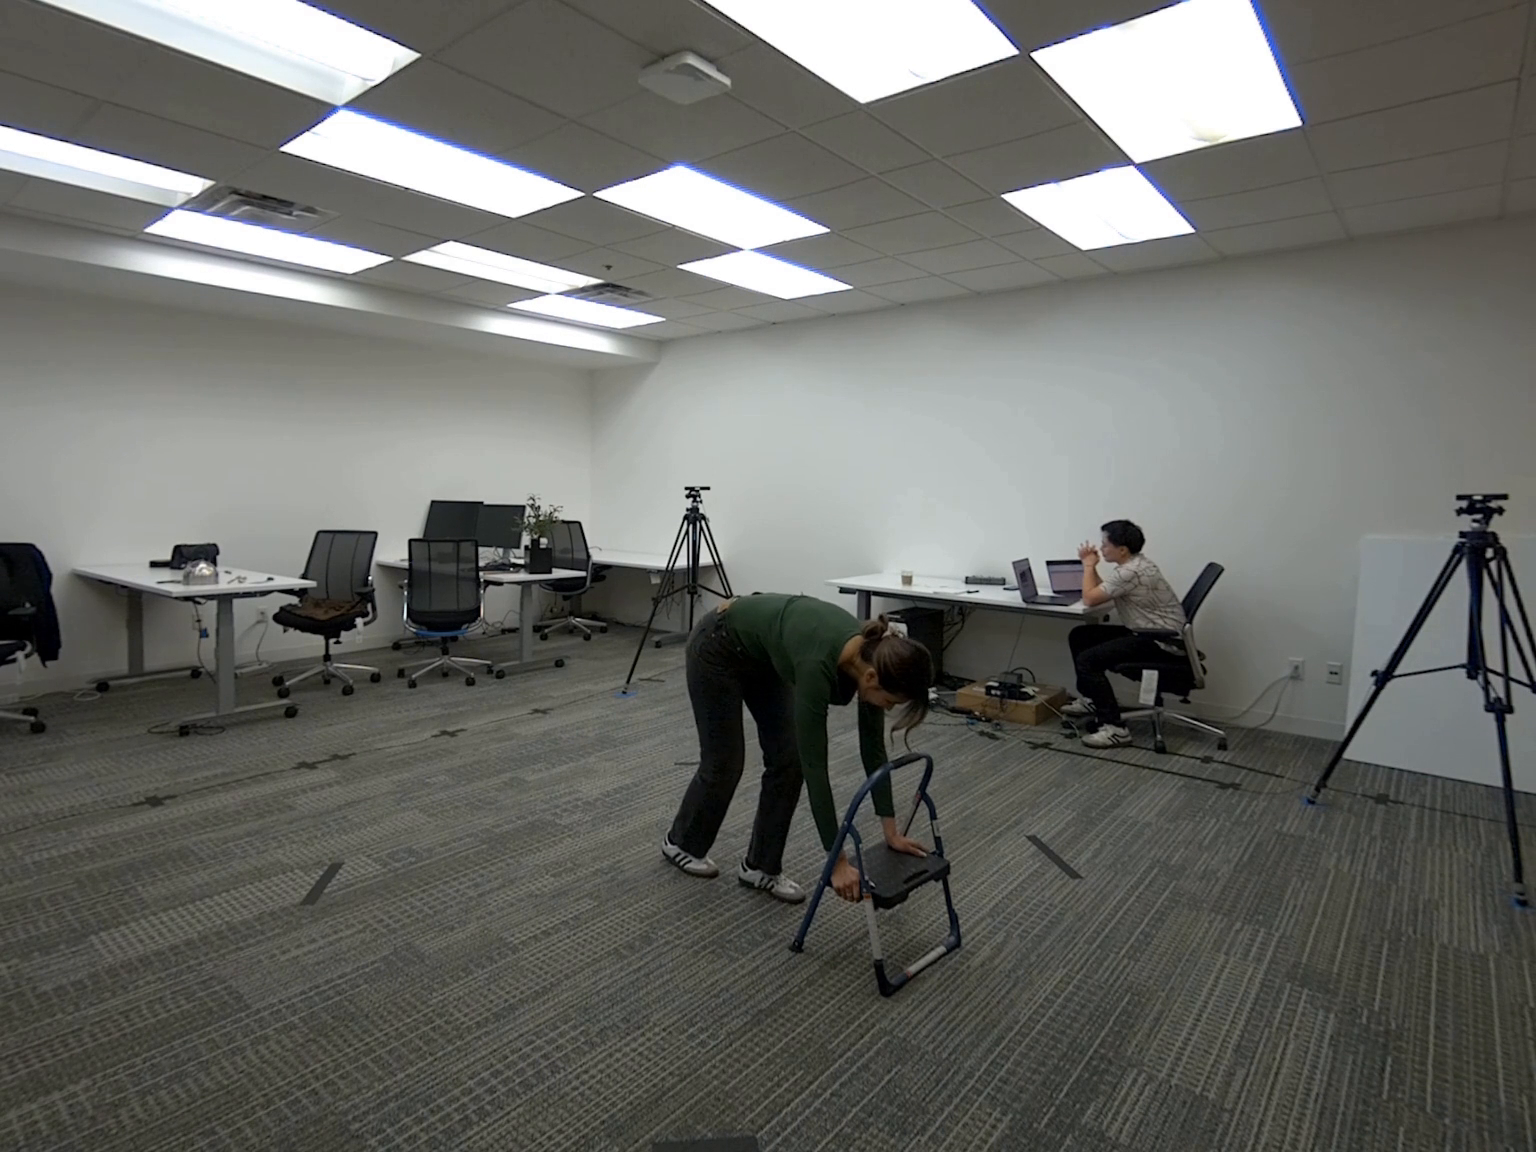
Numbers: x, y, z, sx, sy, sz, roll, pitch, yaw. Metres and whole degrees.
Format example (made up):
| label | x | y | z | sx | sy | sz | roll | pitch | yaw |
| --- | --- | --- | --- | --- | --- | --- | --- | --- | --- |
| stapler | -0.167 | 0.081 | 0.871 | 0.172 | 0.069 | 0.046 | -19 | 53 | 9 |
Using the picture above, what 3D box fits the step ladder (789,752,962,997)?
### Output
| label | x | y | z | sx | sy | sz | roll | pitch | yaw |
| --- | --- | --- | --- | --- | --- | --- | --- | --- | --- |
| step ladder | 0.331 | 0.828 | 2.579 | 0.361 | 0.604 | 0.417 | 4 | 5 | 43 |
